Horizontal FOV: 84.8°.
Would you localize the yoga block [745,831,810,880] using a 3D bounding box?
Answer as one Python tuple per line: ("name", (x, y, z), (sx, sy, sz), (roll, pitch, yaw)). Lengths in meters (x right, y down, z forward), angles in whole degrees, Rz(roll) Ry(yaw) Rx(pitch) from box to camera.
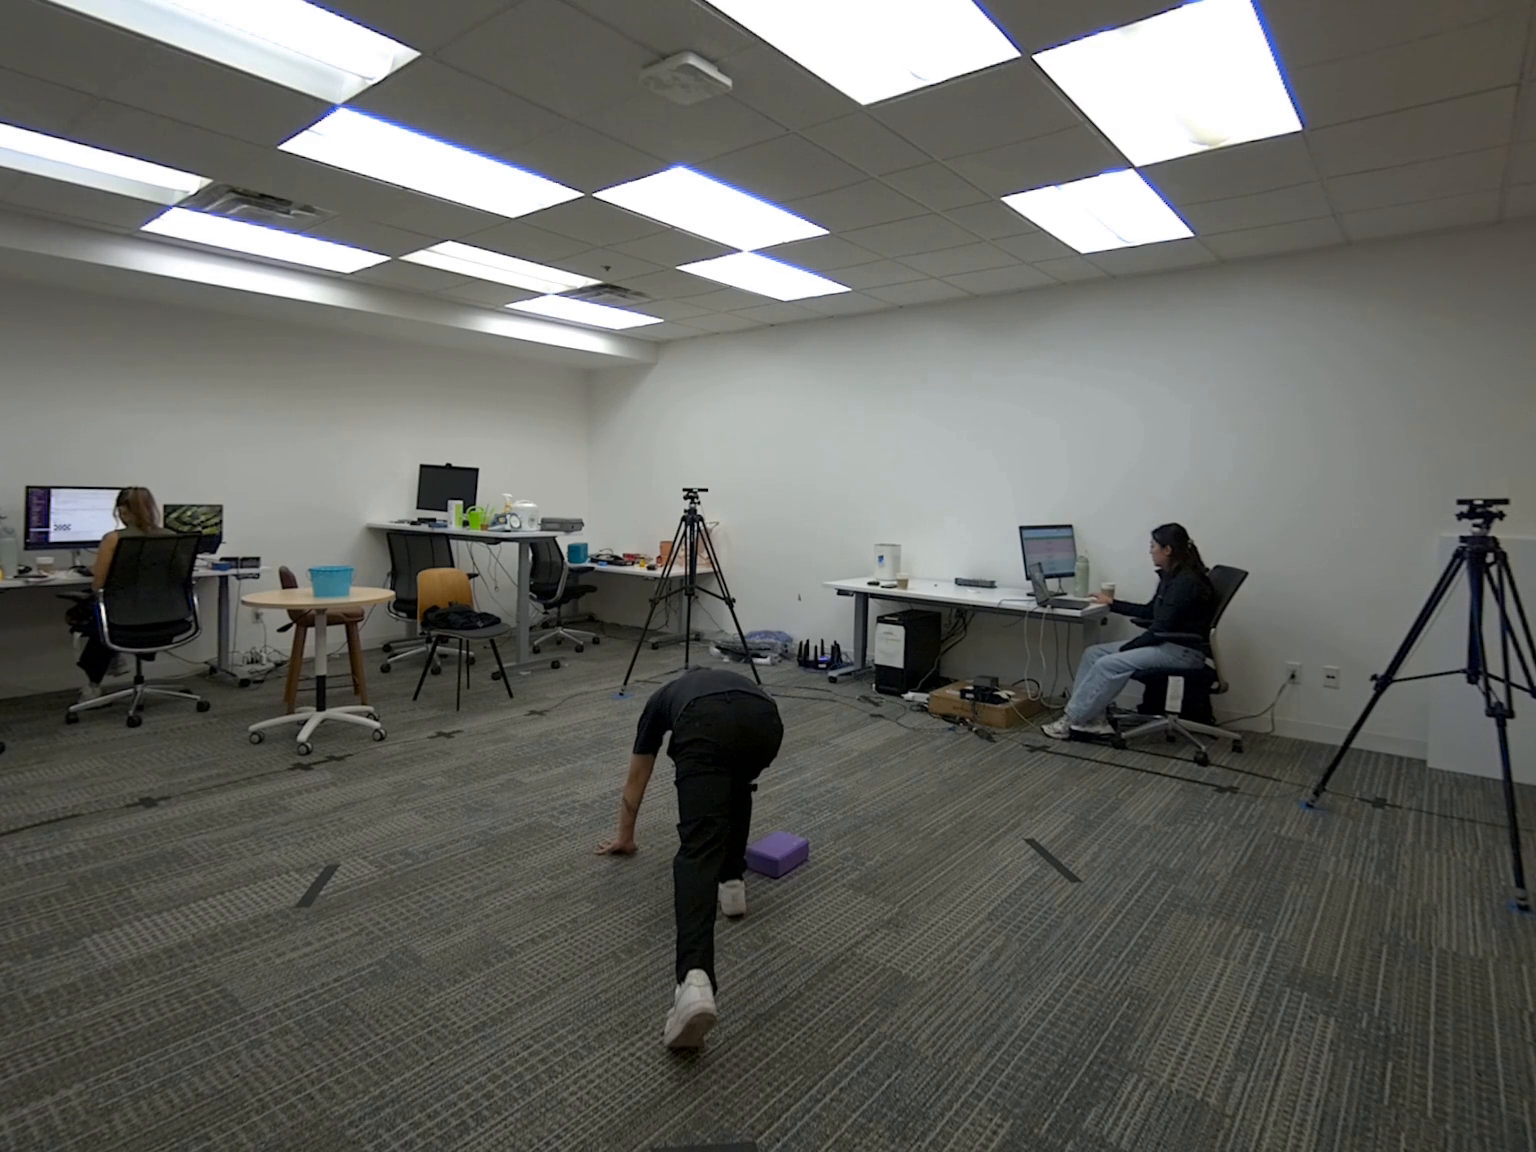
("yoga block", (0.024, 1.027, 3.167), (0.154, 0.076, 0.223), (4, 6, 33))
